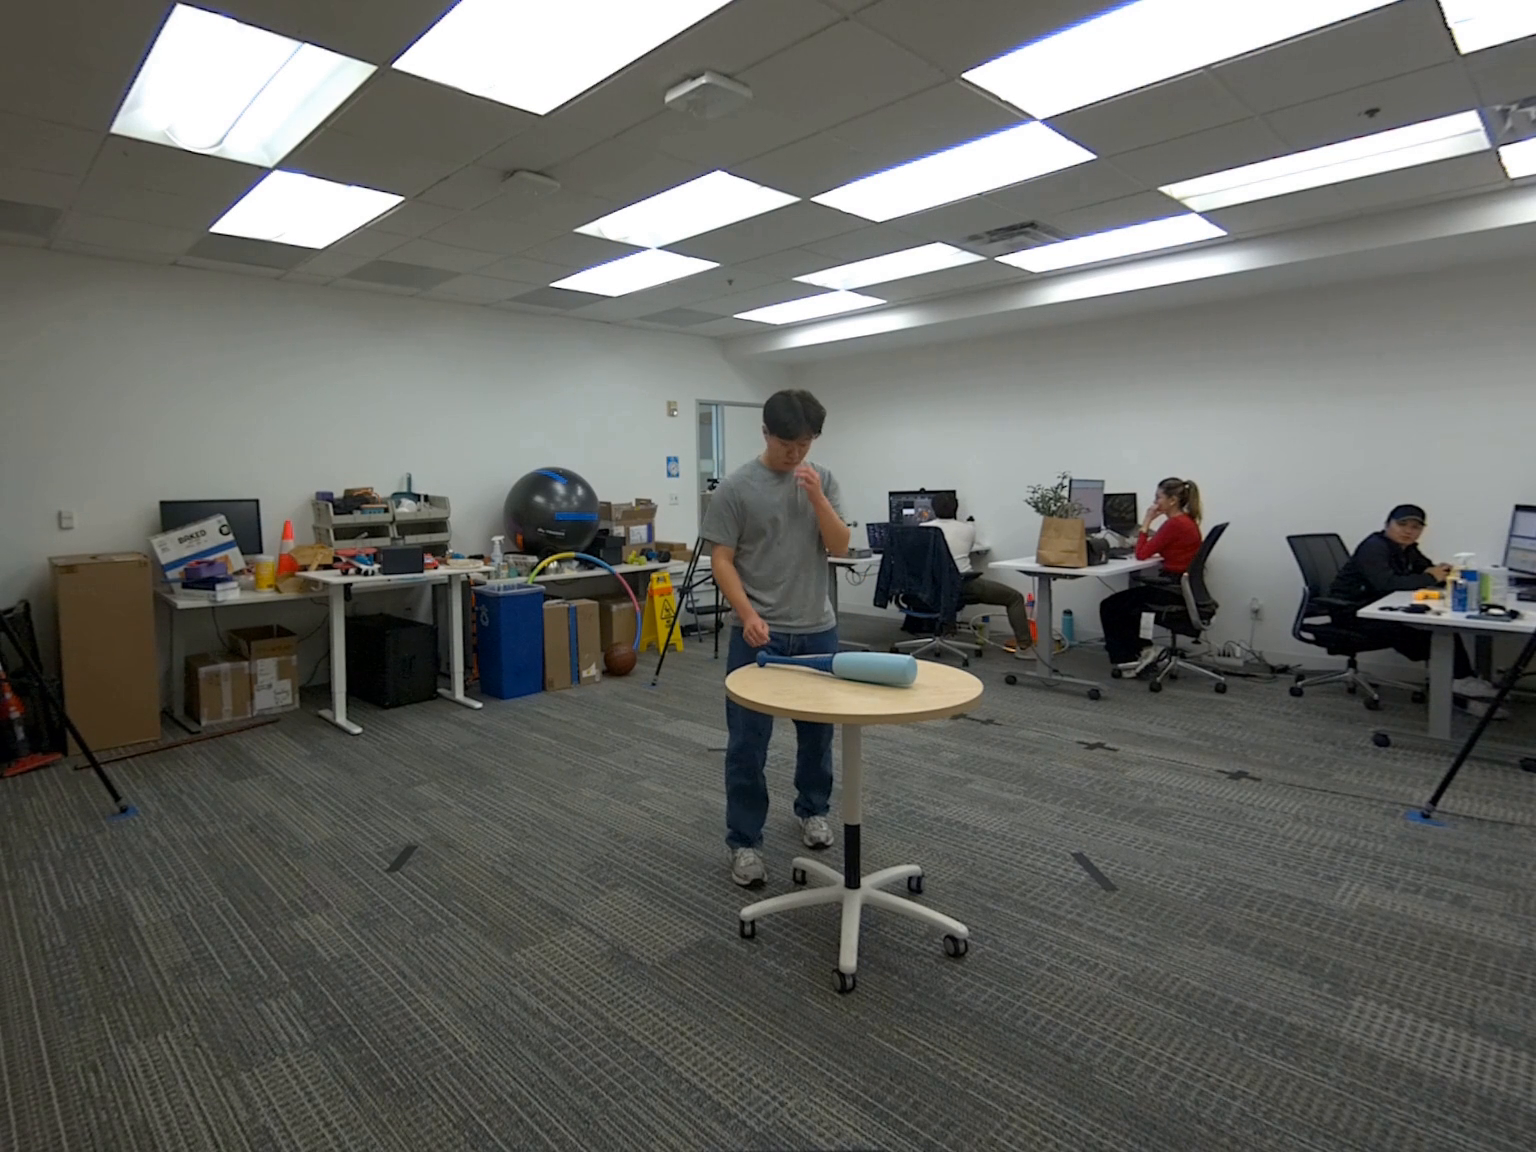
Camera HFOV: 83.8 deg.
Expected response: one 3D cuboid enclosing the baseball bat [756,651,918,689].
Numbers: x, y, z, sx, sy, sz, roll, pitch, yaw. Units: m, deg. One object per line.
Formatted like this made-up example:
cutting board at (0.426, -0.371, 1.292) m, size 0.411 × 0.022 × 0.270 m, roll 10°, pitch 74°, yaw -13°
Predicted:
baseball bat at (0.197, 0.280, 2.634) m, size 0.558 × 0.089 × 0.087 m, roll -1°, pitch 4°, yaw 35°
